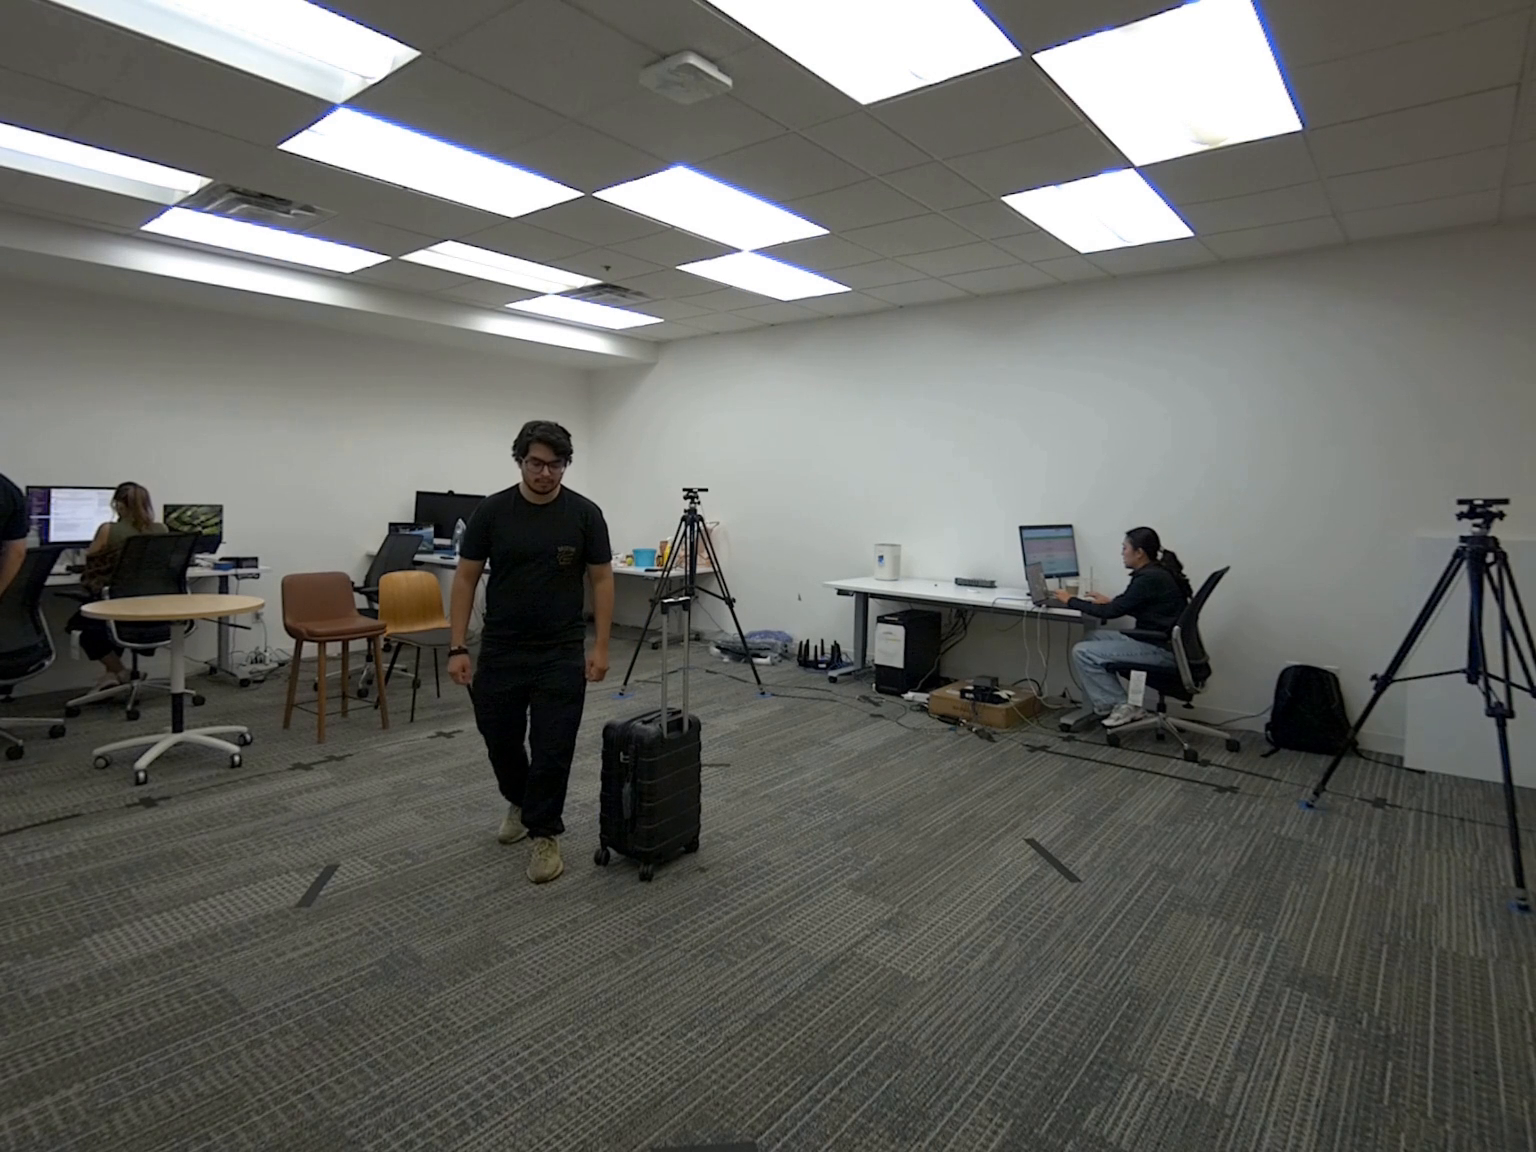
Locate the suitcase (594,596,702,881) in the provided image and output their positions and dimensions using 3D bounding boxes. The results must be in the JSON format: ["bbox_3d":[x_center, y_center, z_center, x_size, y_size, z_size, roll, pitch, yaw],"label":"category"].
[{"bbox_3d":[-0.451,0.583,3.195,0.265,0.978,0.373,0,1,33],"label":"suitcase"}]
